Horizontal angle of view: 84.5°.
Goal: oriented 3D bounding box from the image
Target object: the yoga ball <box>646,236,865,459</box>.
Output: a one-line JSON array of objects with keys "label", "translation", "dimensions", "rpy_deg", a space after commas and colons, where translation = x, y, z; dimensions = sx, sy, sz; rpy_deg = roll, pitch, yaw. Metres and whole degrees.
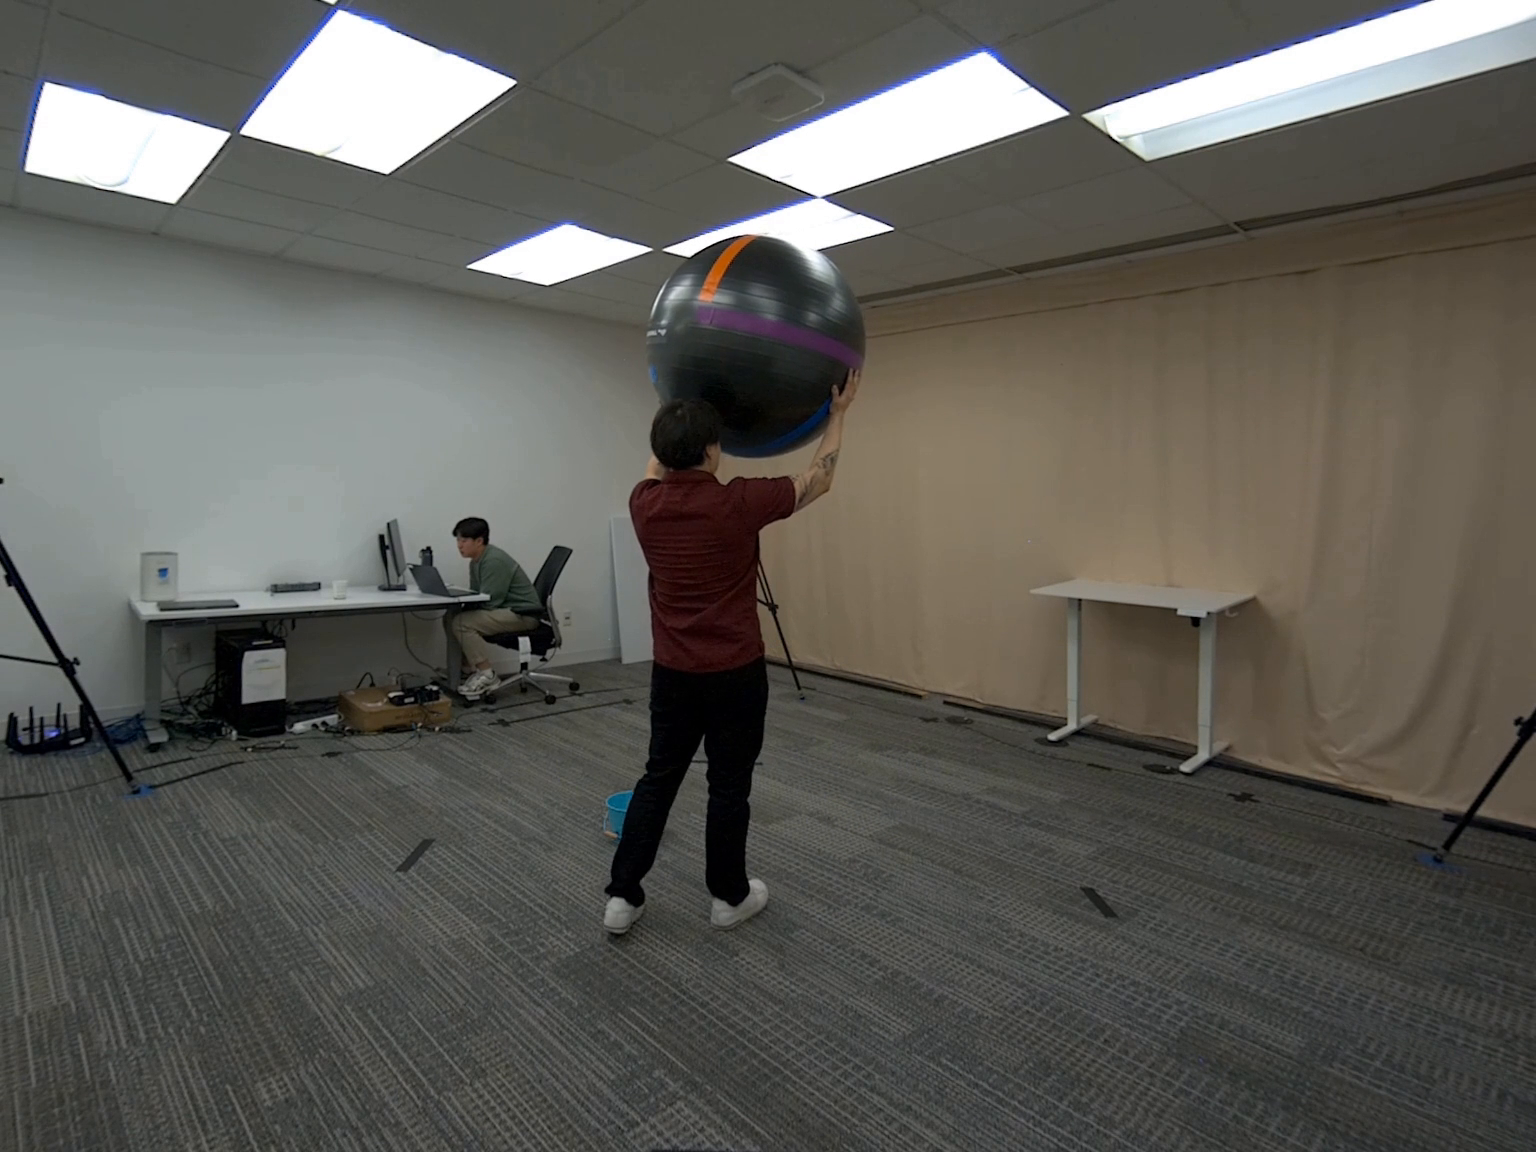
[{"label": "yoga ball", "translation": [-0.050, -0.786, 2.927], "dimensions": [0.757, 0.756, 0.761], "rpy_deg": [1, 4, -1]}]
